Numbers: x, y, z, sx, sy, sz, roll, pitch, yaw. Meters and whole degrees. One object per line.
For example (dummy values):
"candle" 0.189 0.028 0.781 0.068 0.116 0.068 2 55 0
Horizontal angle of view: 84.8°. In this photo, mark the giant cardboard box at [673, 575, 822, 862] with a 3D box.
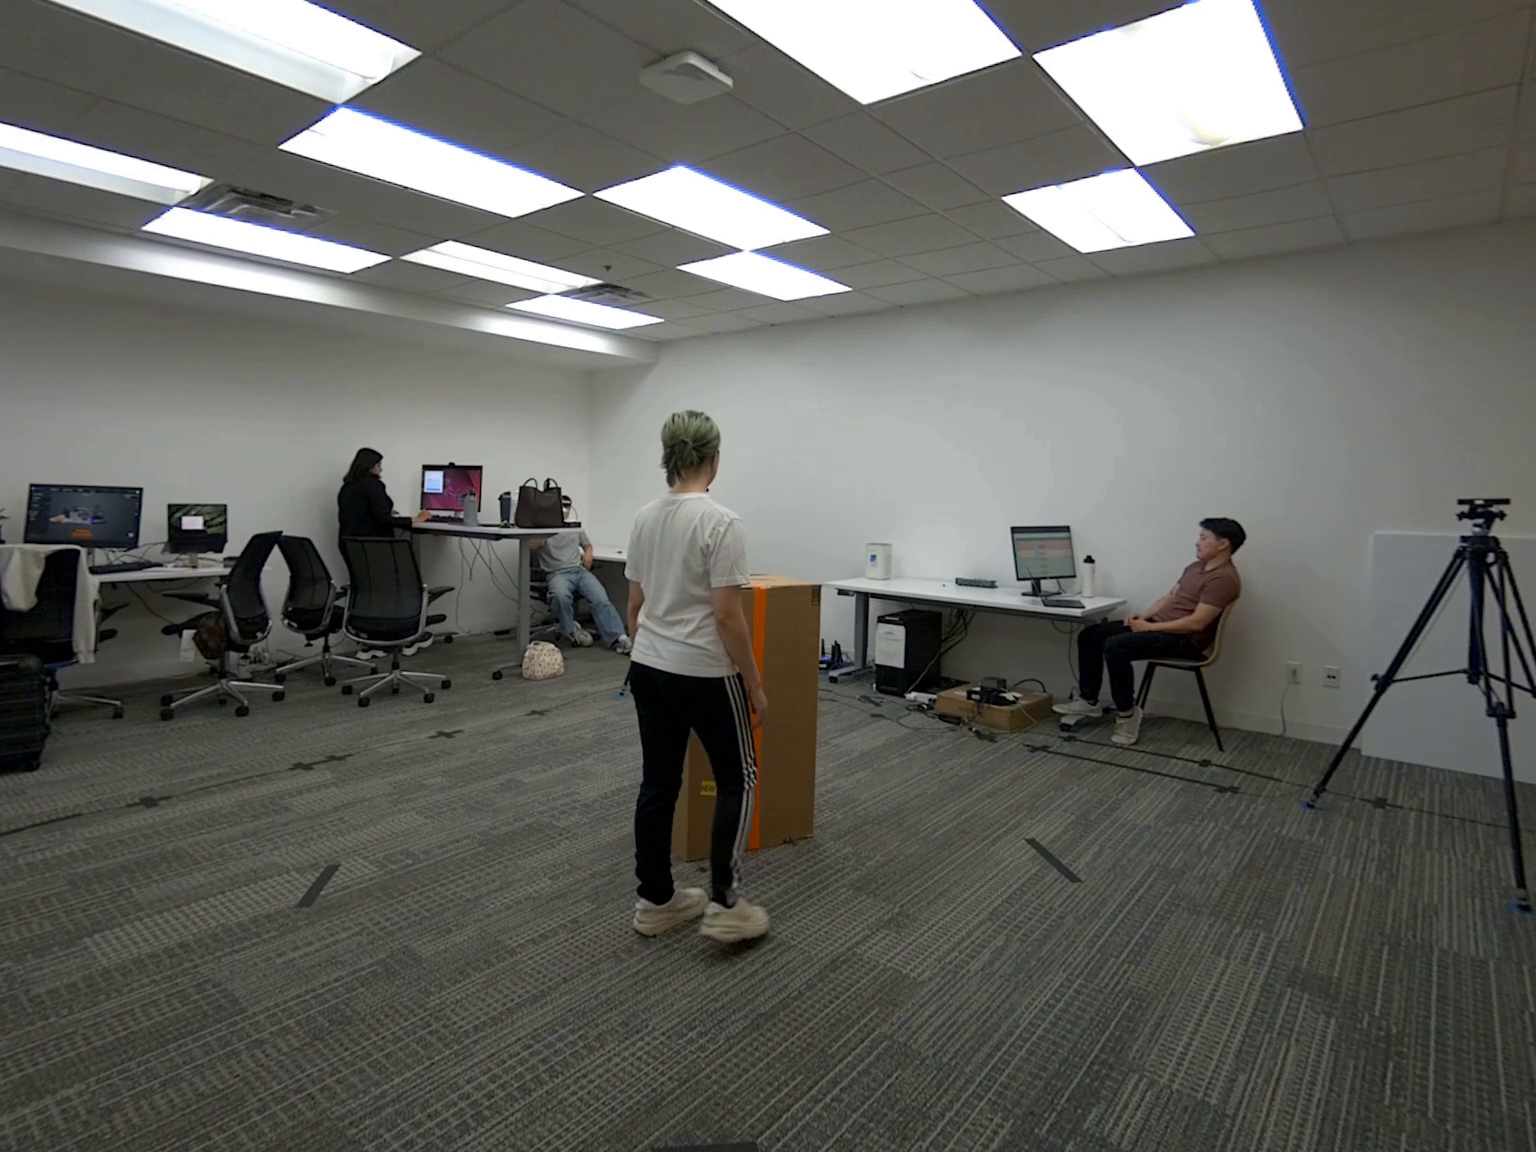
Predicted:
"giant cardboard box" -0.159 0.528 3.457 0.568 1.025 0.460 0 3 -31
